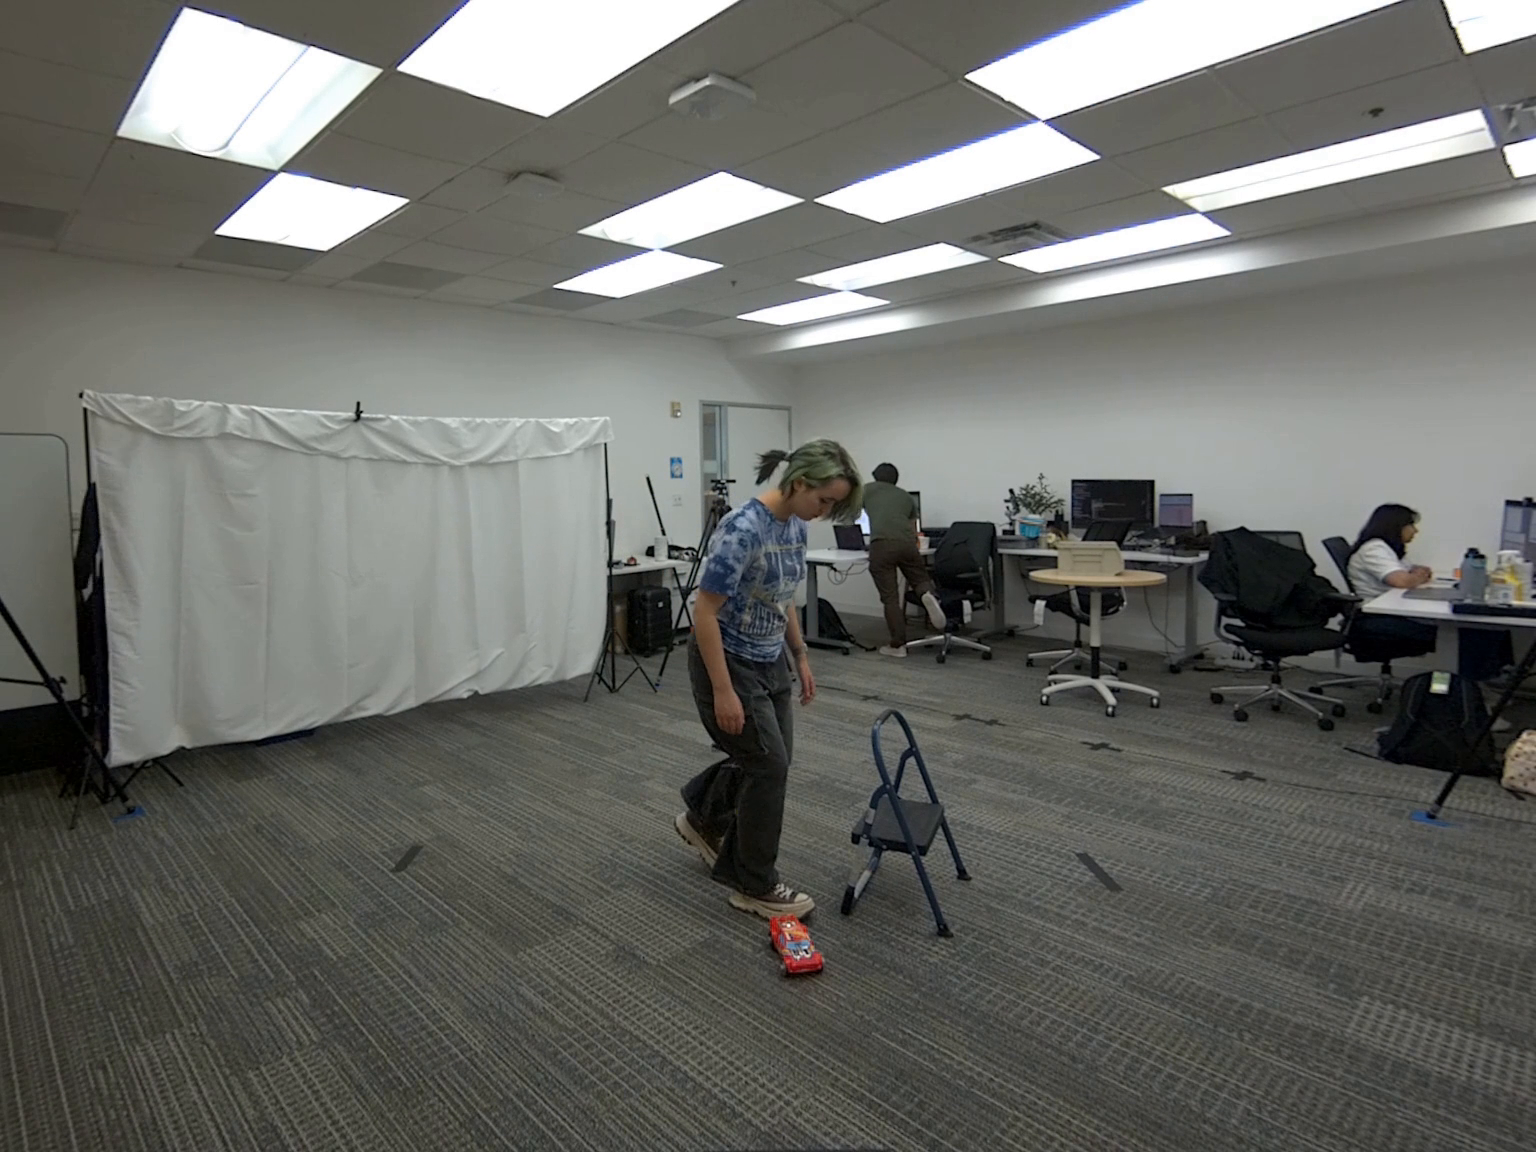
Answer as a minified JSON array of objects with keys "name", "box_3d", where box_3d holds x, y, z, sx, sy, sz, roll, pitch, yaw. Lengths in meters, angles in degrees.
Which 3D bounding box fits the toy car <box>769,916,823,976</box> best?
[{"name":"toy car","box_3d":[0.081,1.088,2.495,0.129,0.082,0.261,-2,17,-13]}]
